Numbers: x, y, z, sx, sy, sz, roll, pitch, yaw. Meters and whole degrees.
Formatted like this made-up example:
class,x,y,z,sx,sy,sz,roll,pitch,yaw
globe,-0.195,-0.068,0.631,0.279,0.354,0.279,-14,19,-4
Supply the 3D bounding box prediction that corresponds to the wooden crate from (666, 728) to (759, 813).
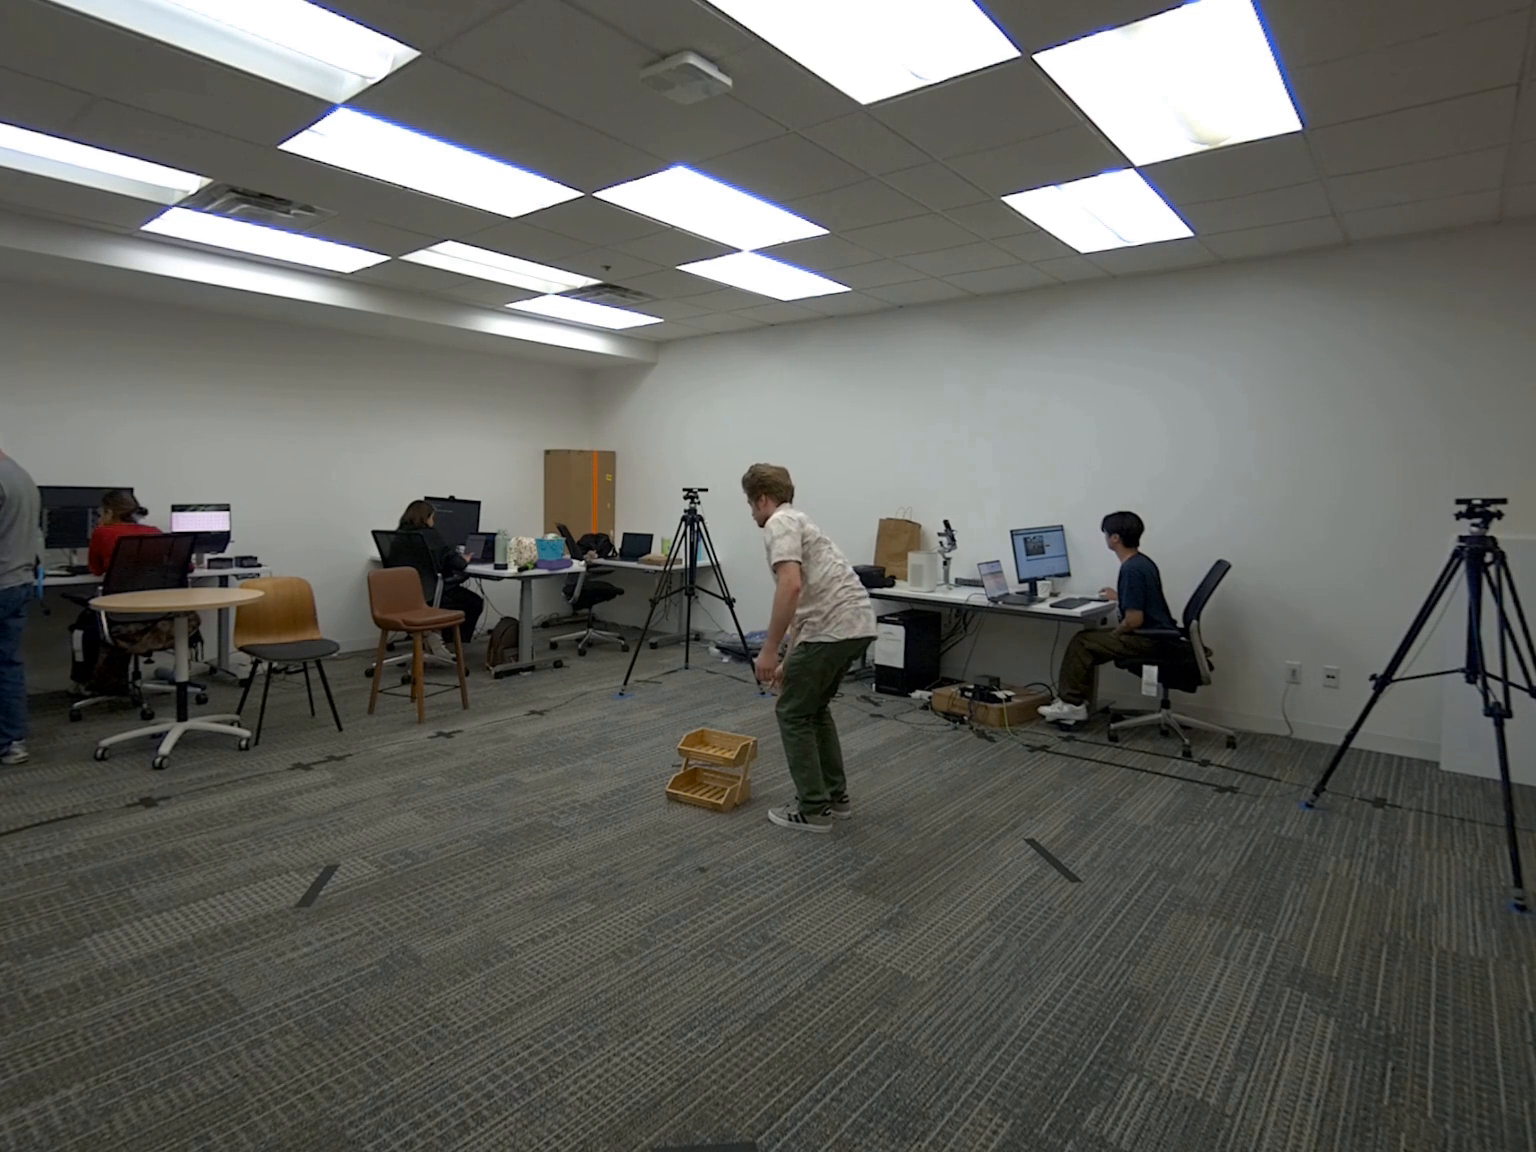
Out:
class,x,y,z,sx,sy,sz,roll,pitch,yaw
wooden crate,-0.265,0.862,3.844,0.334,0.273,0.294,3,4,30
